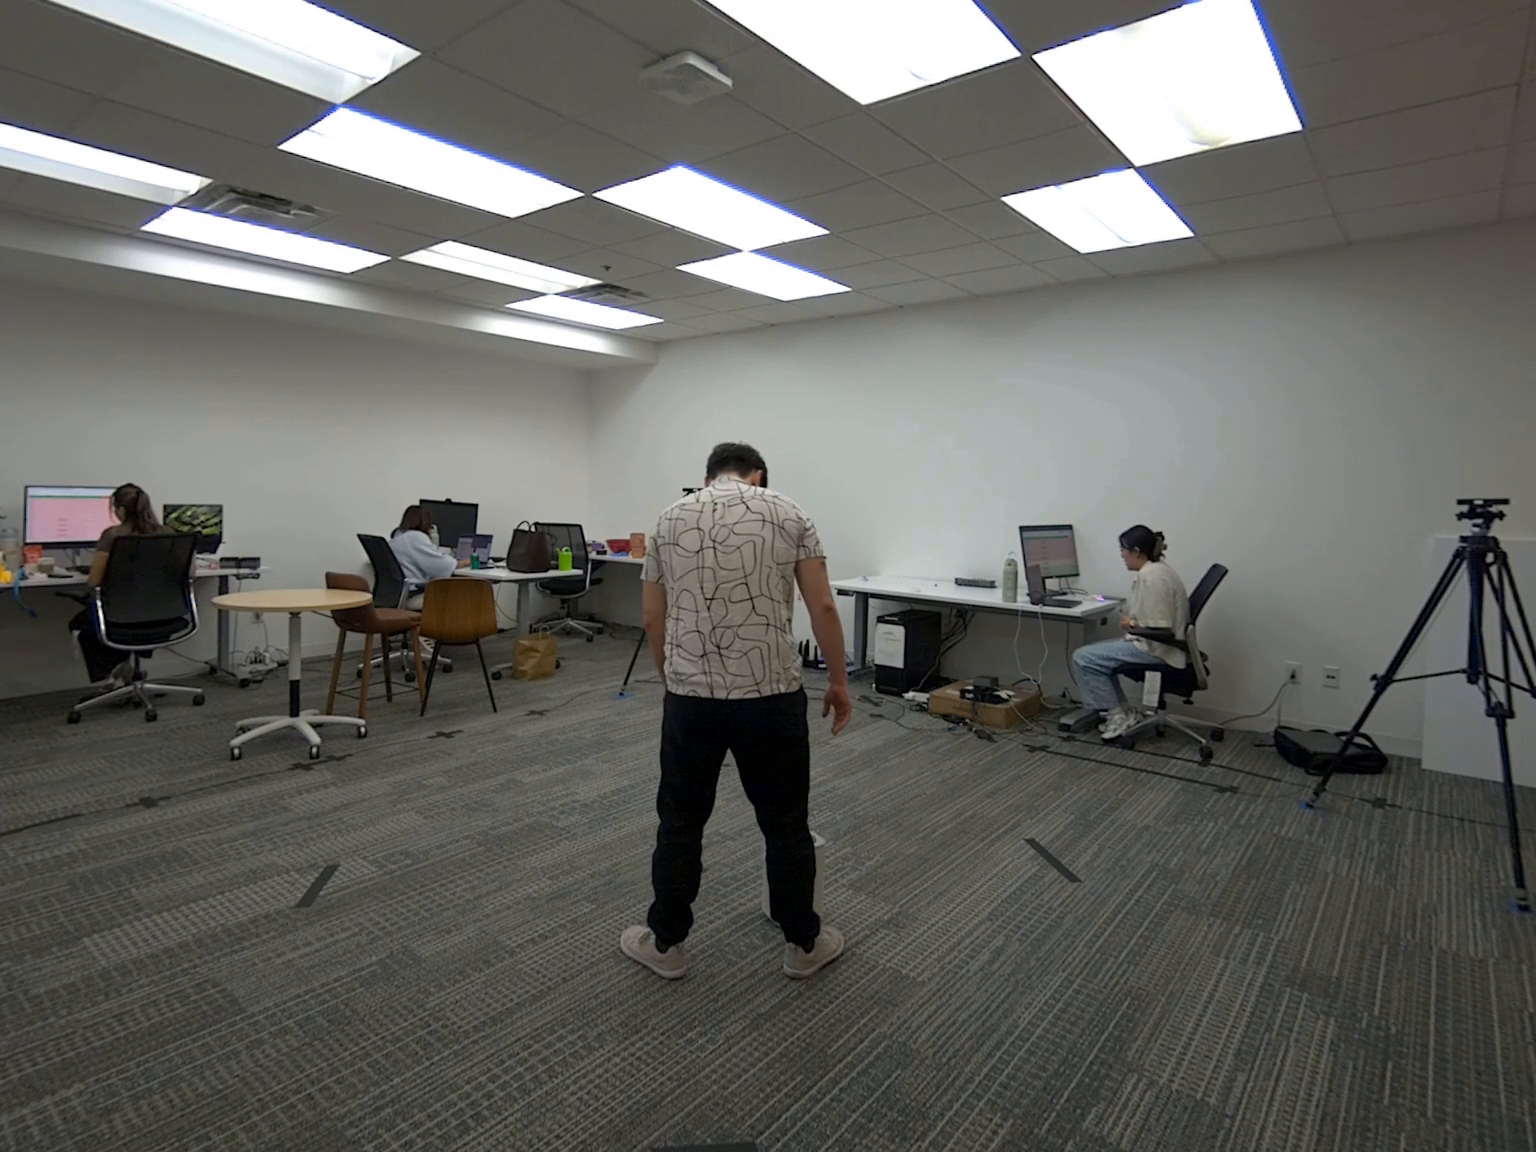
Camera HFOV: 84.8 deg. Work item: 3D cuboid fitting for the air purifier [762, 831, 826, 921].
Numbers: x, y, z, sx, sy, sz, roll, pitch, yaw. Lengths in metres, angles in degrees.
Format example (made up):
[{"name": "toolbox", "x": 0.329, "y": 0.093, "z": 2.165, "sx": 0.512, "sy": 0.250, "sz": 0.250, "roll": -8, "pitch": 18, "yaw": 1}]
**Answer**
[{"name": "air purifier", "x": 0.081, "y": 0.973, "z": 2.751, "sx": 0.166, "sy": 0.265, "sz": 0.176, "roll": 1, "pitch": 2, "yaw": -34}]
